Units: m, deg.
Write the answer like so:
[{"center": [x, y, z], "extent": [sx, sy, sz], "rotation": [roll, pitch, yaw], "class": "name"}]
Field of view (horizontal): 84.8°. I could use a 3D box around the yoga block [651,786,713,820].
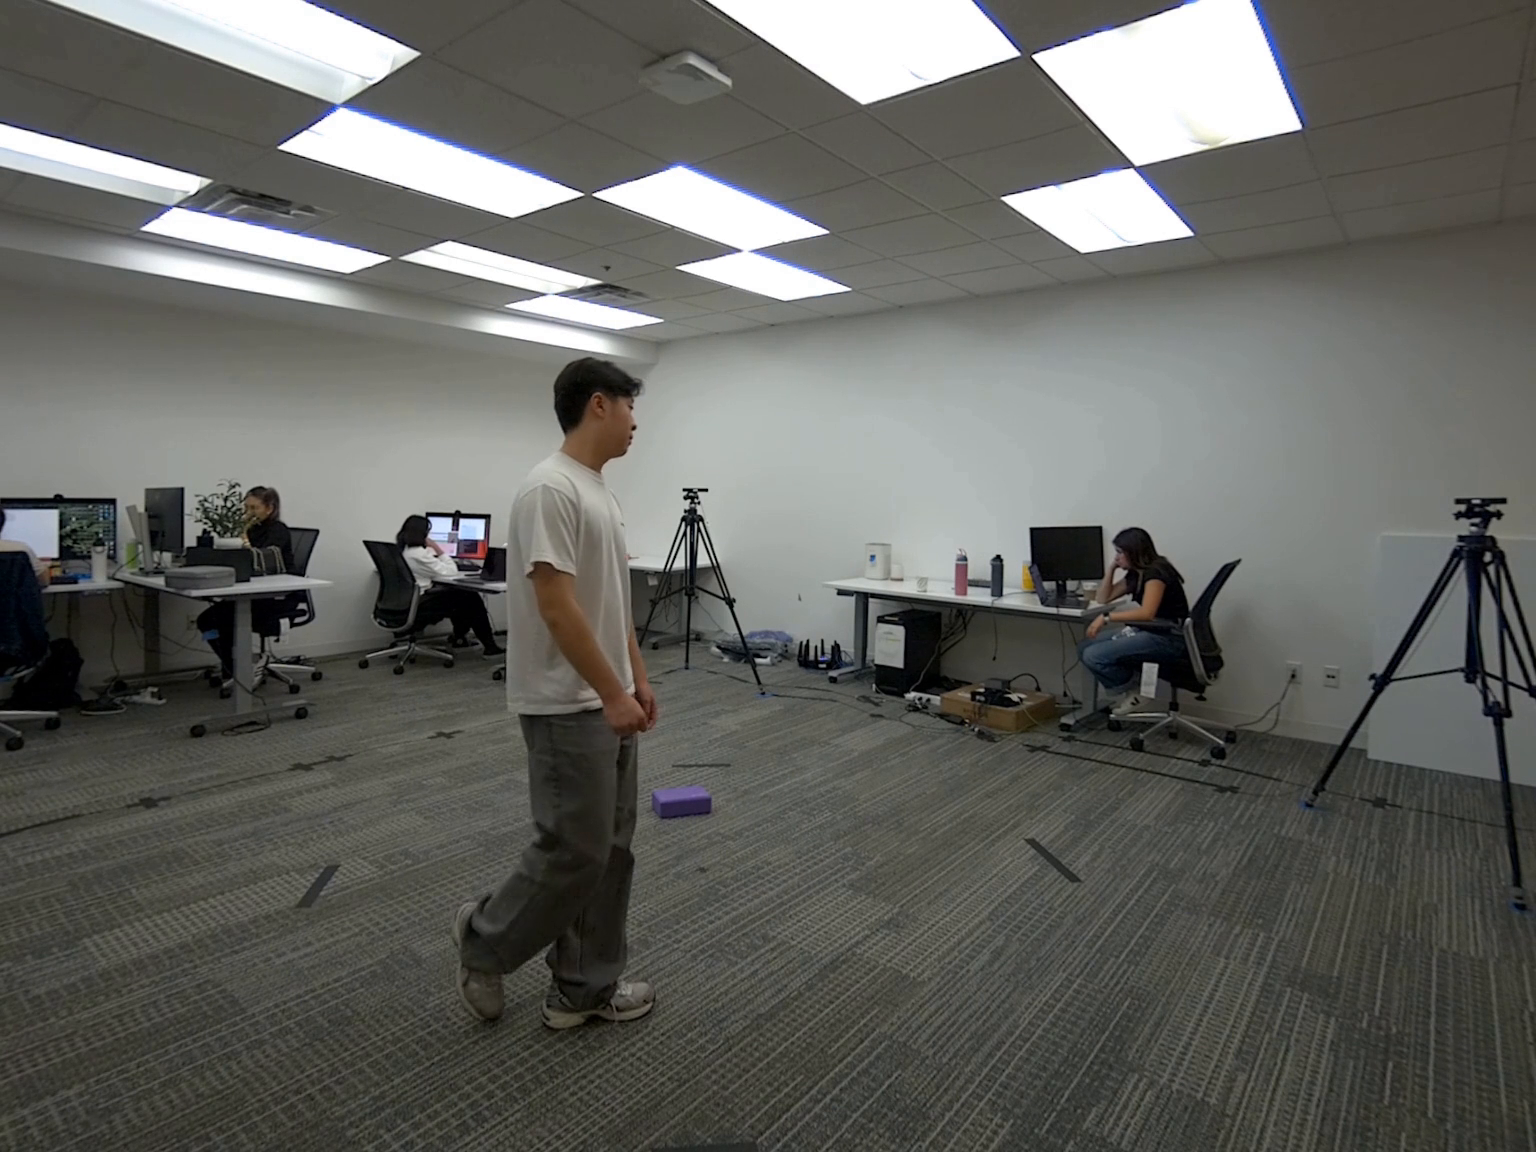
[{"center": [-0.371, 0.965, 3.682], "extent": [0.225, 0.076, 0.153], "rotation": [-2, 6, -20], "class": "yoga block"}]
